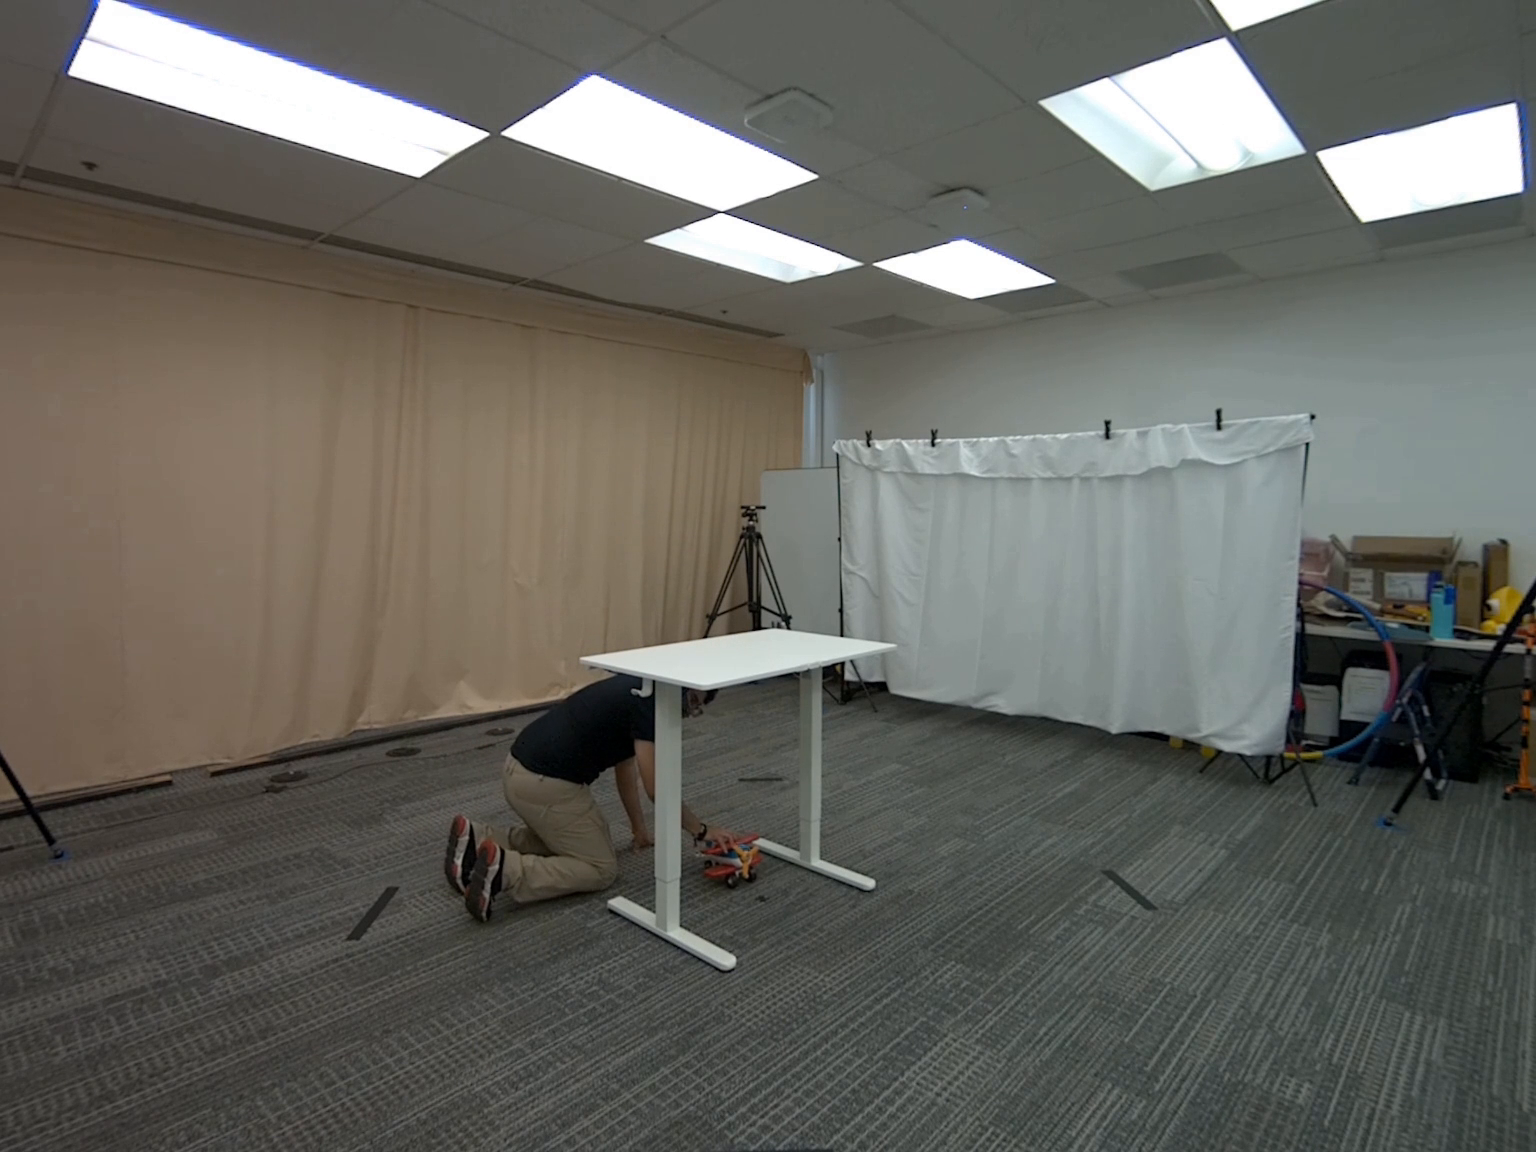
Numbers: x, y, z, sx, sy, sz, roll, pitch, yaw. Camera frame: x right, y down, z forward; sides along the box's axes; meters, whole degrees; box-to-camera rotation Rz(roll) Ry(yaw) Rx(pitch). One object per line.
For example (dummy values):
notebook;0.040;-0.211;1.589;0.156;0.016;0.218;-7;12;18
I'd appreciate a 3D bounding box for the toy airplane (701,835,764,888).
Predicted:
toy airplane;-0.163;1.059;3.137;0.266;0.156;0.245;3;5;24
